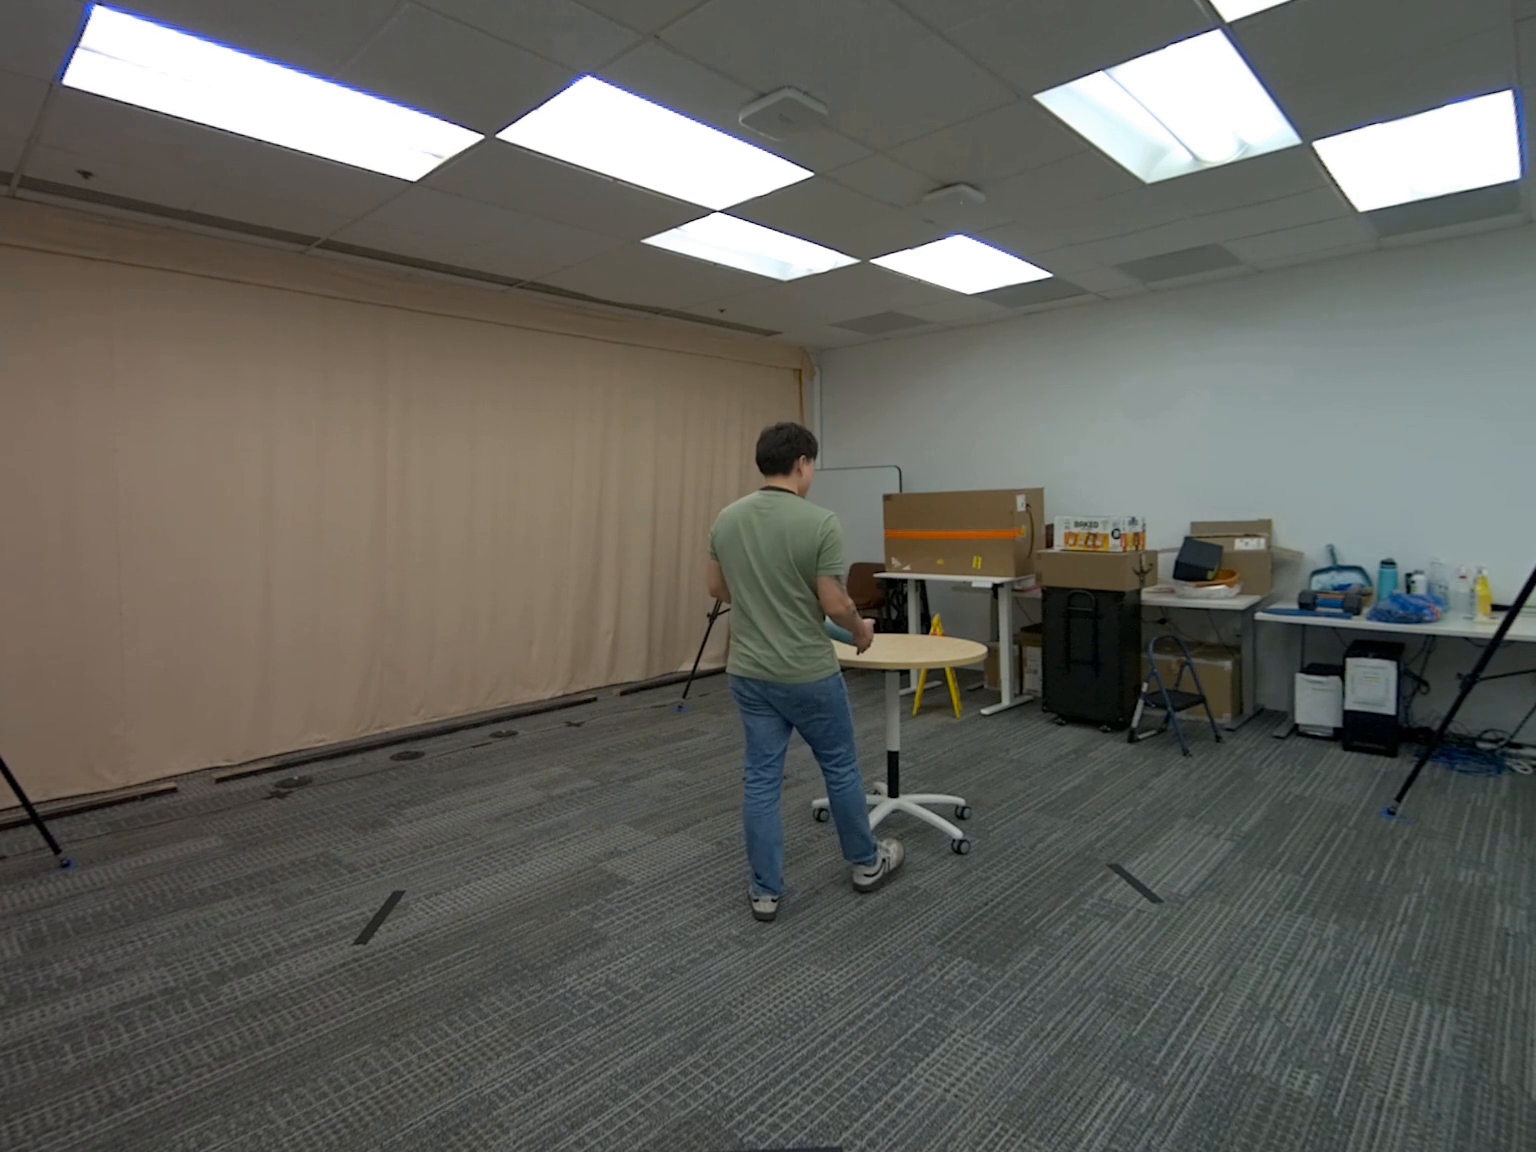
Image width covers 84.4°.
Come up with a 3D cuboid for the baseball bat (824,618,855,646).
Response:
[{"bbox_3d":[0.165,0.151,3.219,0.087,0.088,0.557,-2,13,-20],"label":"baseball bat"}]
